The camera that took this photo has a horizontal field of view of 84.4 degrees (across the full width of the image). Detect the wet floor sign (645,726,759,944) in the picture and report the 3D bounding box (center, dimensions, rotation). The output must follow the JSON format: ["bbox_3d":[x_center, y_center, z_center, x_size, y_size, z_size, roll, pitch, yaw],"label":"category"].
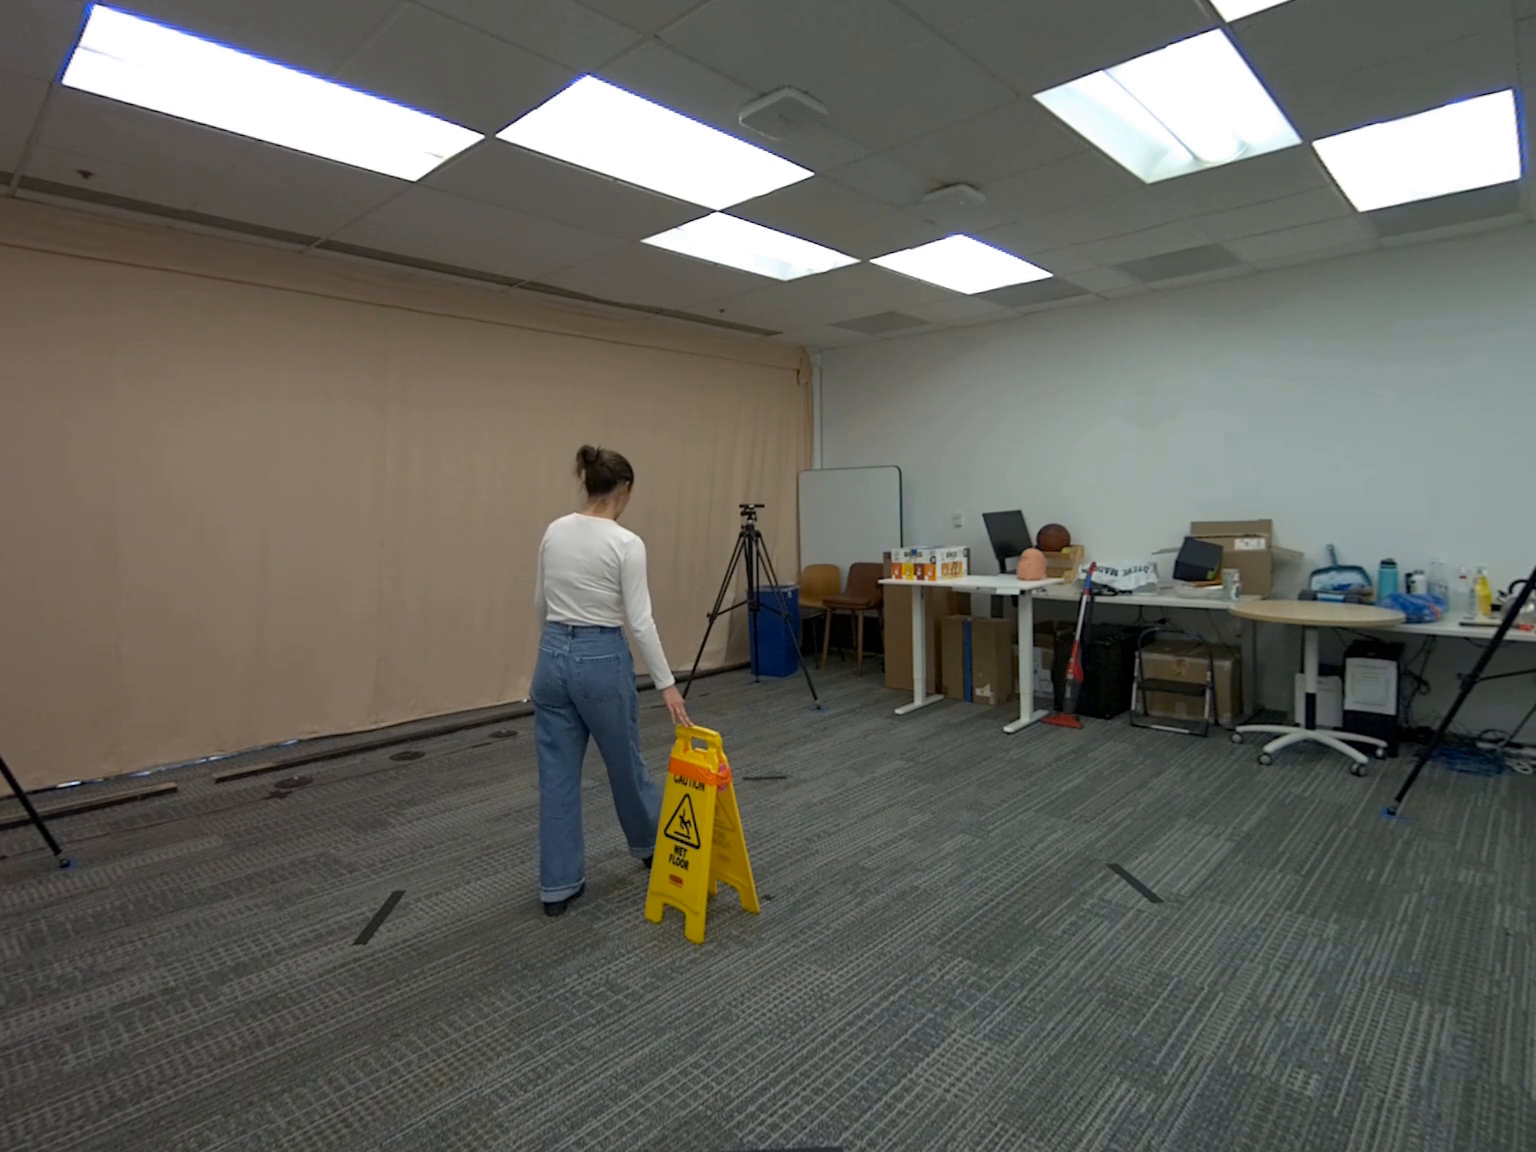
[{"bbox_3d":[-0.227,0.832,2.844,0.291,0.645,0.281,1,4,43],"label":"wet floor sign"}]
